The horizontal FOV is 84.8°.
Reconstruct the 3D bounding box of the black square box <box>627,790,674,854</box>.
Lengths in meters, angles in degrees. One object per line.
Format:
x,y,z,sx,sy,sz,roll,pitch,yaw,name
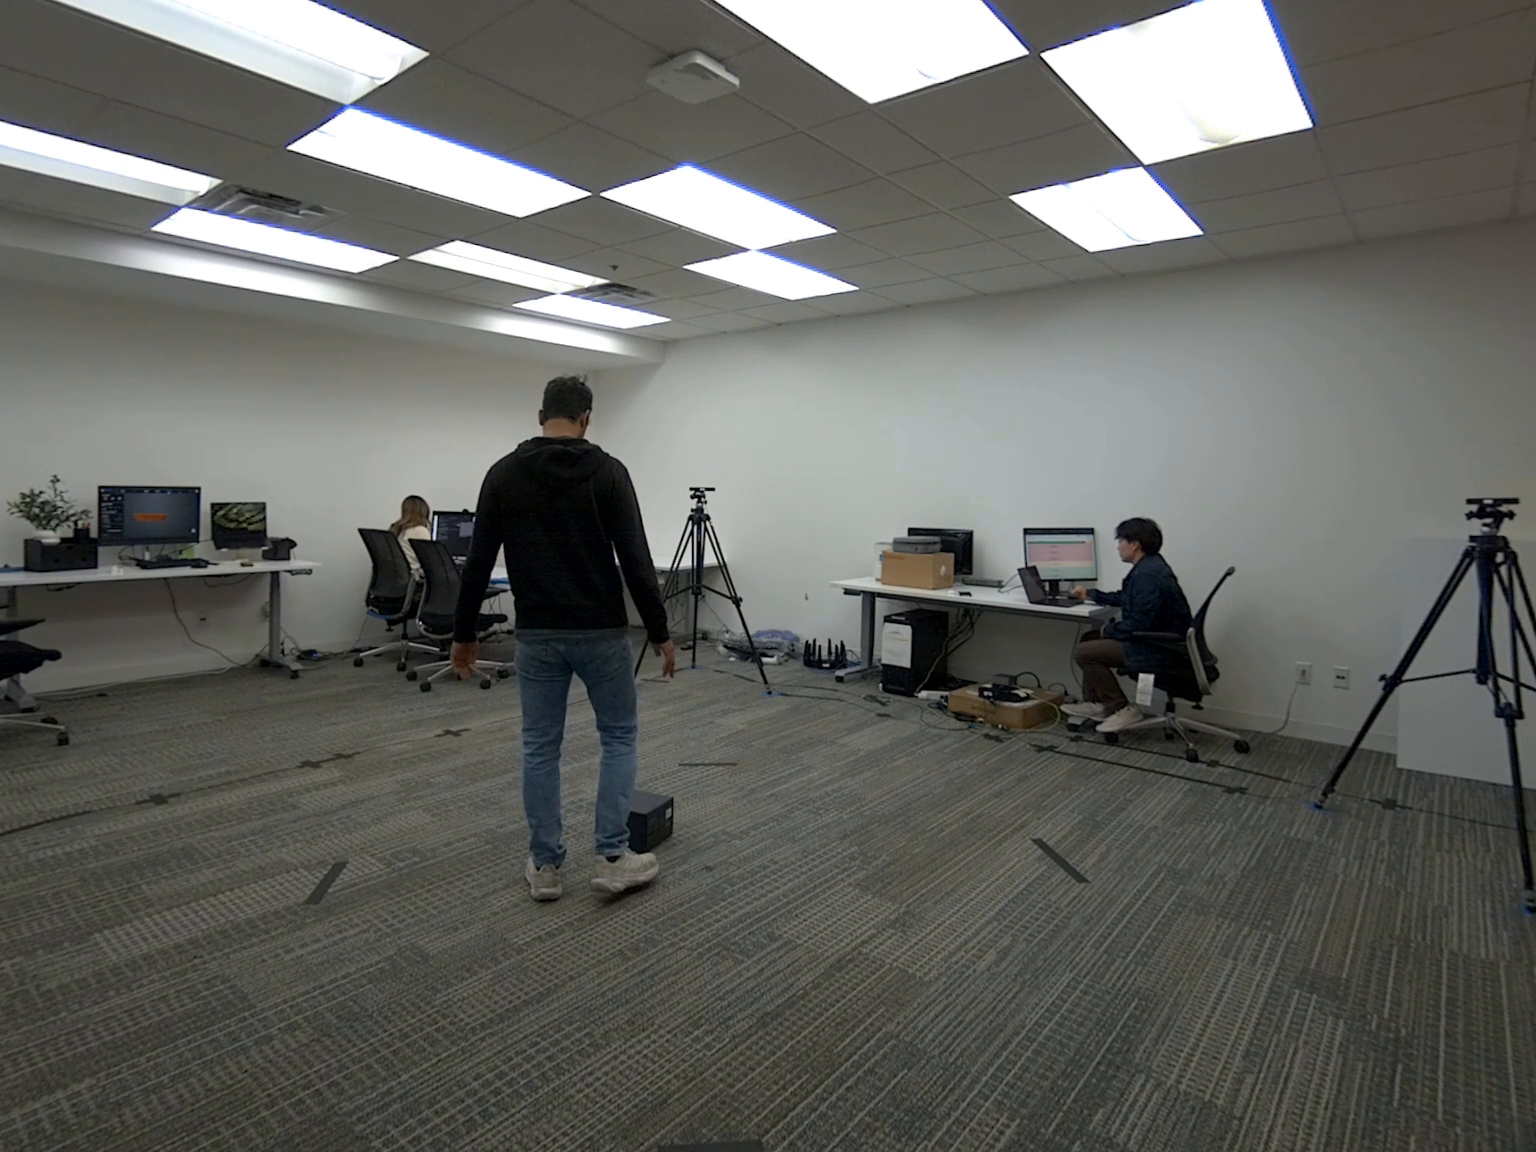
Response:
-0.545,0.952,3.346,0.234,0.155,0.212,3,5,24,black square box
